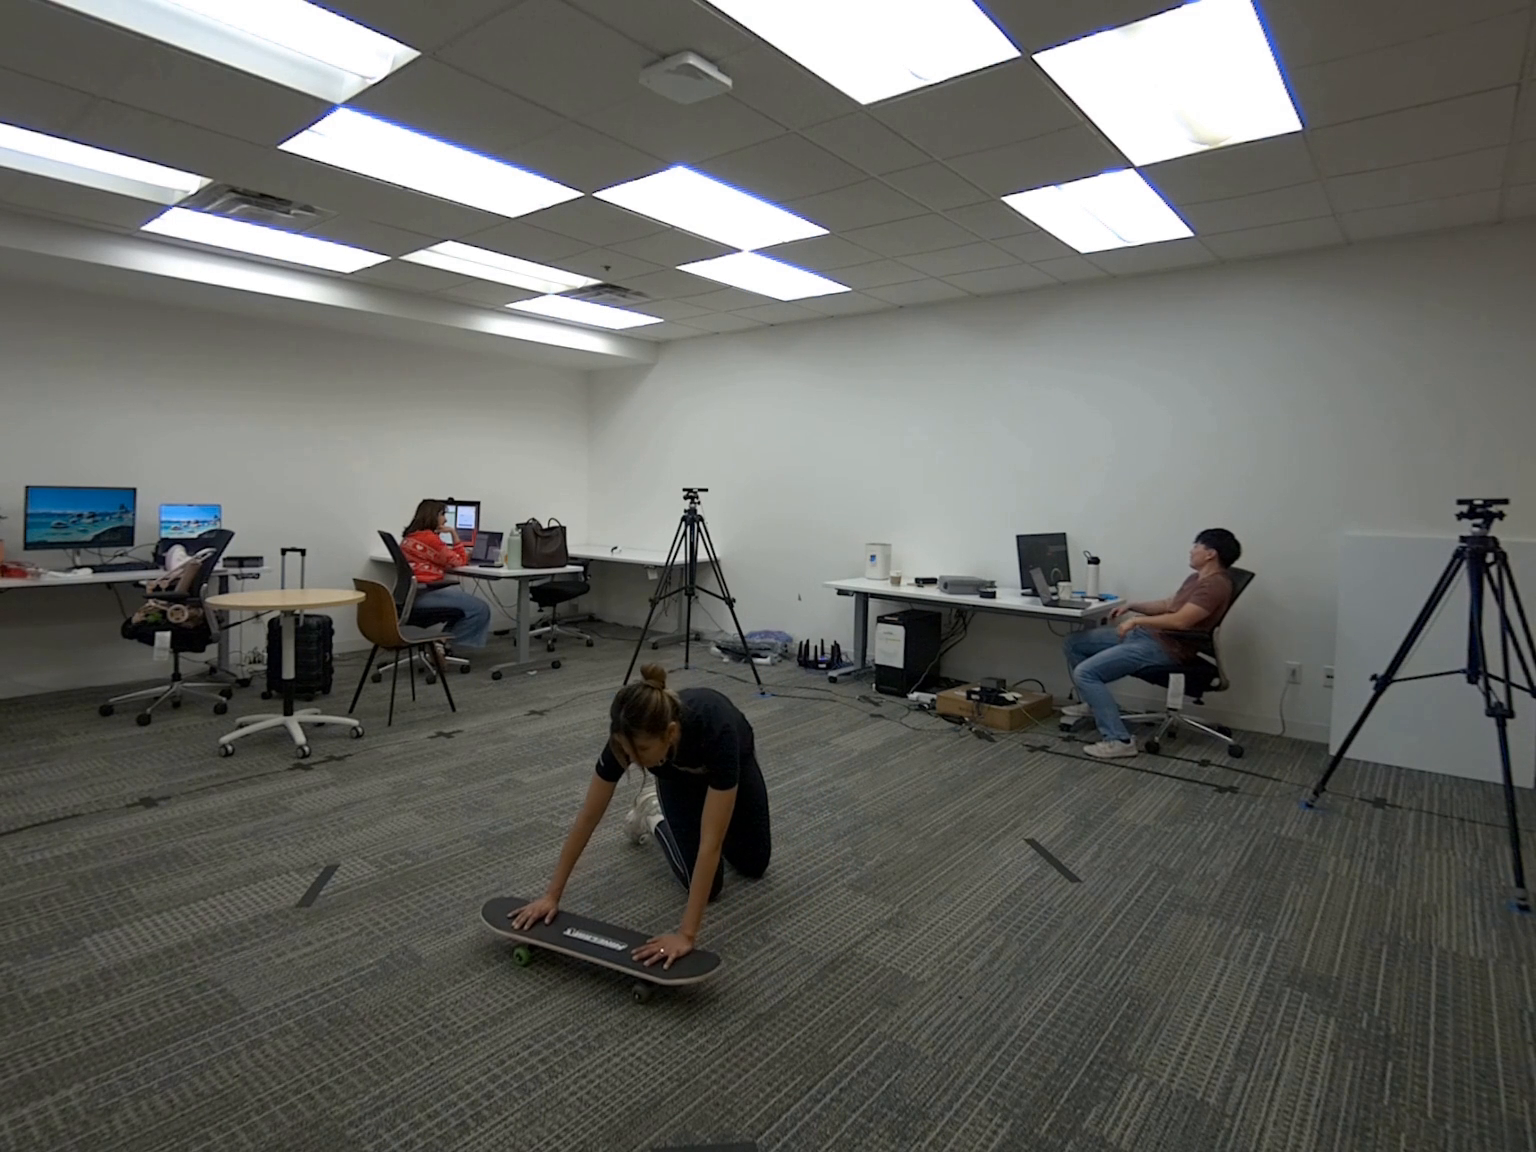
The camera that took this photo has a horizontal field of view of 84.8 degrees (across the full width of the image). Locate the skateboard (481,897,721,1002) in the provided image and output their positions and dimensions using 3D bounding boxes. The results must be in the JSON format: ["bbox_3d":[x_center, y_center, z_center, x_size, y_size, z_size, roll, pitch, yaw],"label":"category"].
[{"bbox_3d":[-0.501,1.073,2.451,0.805,0.110,0.189,3,4,24],"label":"skateboard"}]
